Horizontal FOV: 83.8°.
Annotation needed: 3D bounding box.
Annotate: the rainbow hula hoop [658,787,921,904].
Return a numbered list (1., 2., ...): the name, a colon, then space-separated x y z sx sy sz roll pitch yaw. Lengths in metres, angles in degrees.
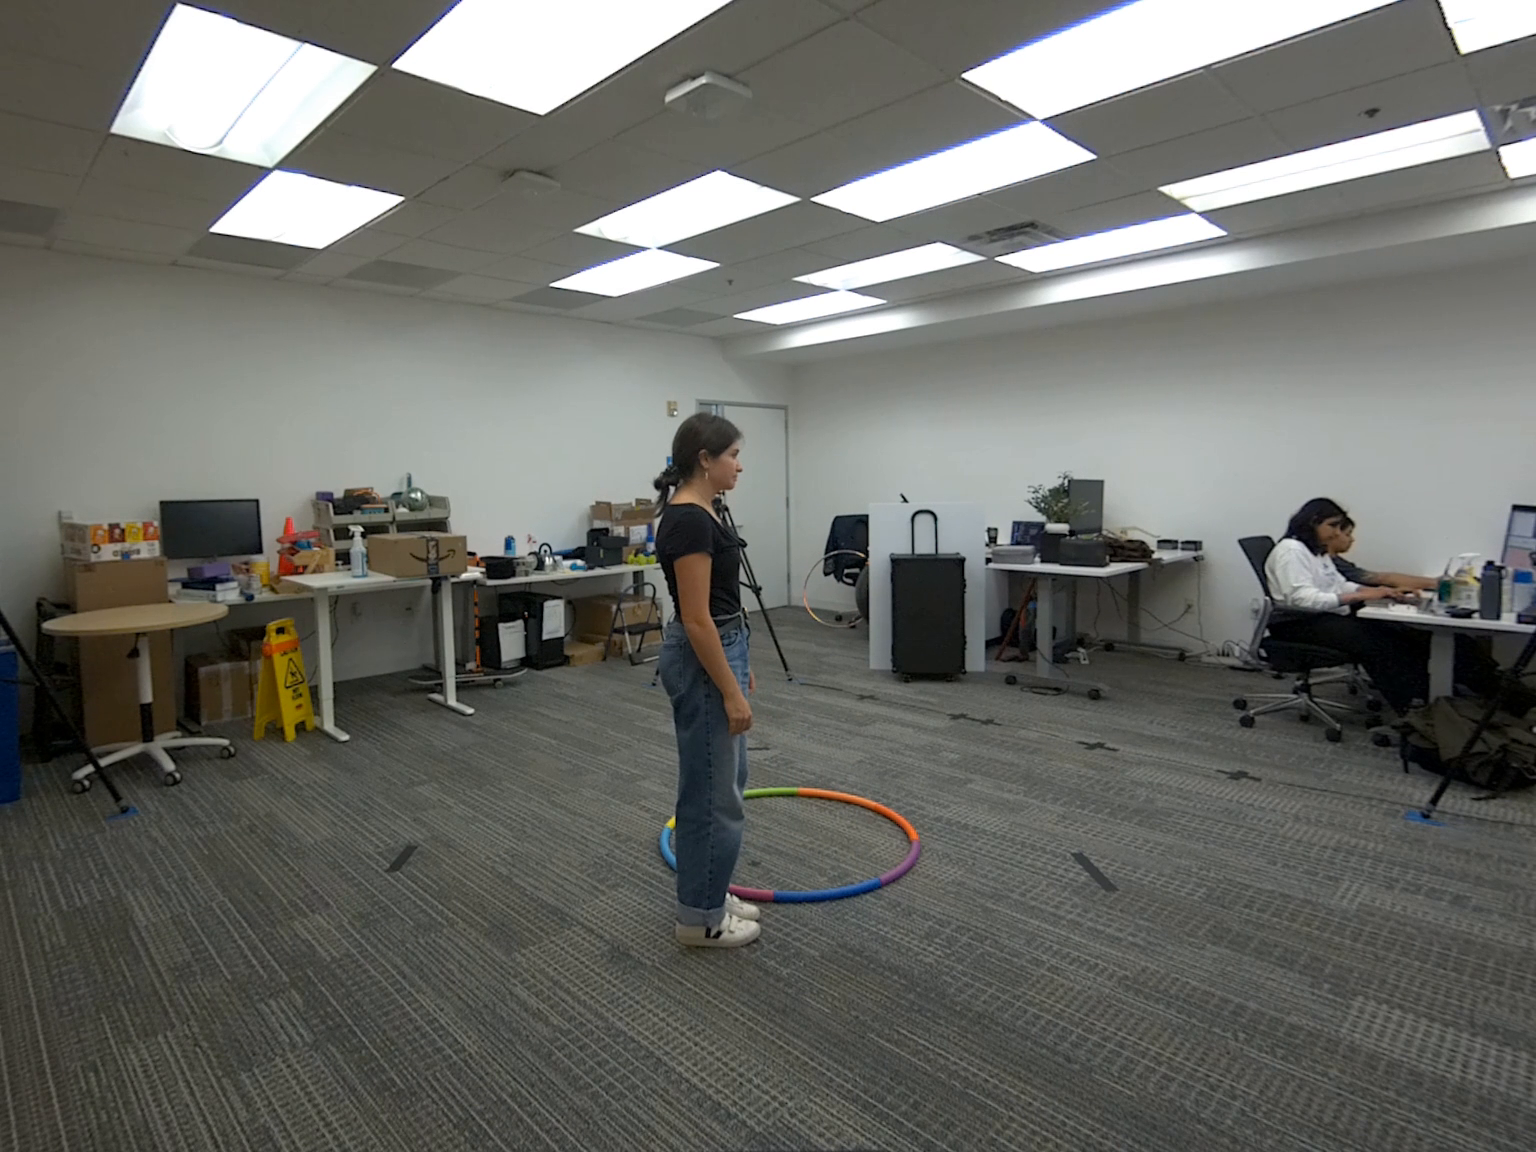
1. rainbow hula hoop: 0.073 0.992 3.293 0.978 0.035 0.984 -1 7 -2
